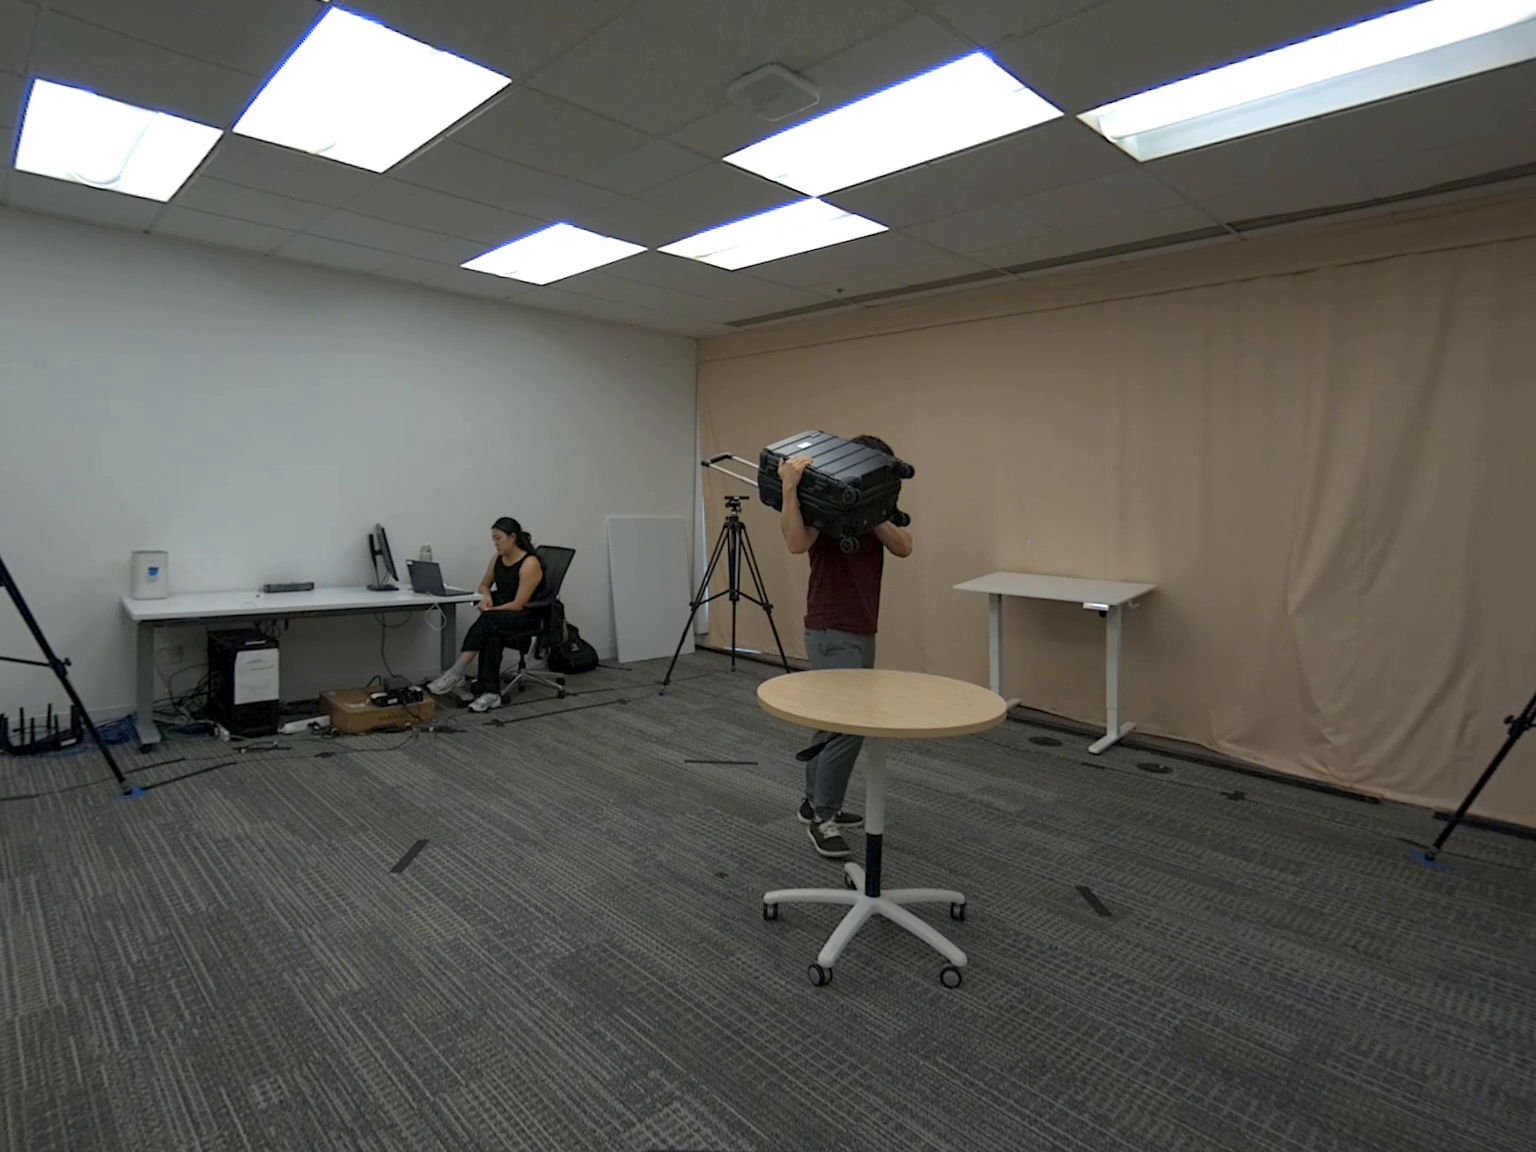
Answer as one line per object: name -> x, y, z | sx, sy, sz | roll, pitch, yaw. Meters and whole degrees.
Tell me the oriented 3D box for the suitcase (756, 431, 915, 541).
suitcase -> 0.097, -0.445, 3.382 | 0.379, 0.252, 1.010 | -24, 38, -34
